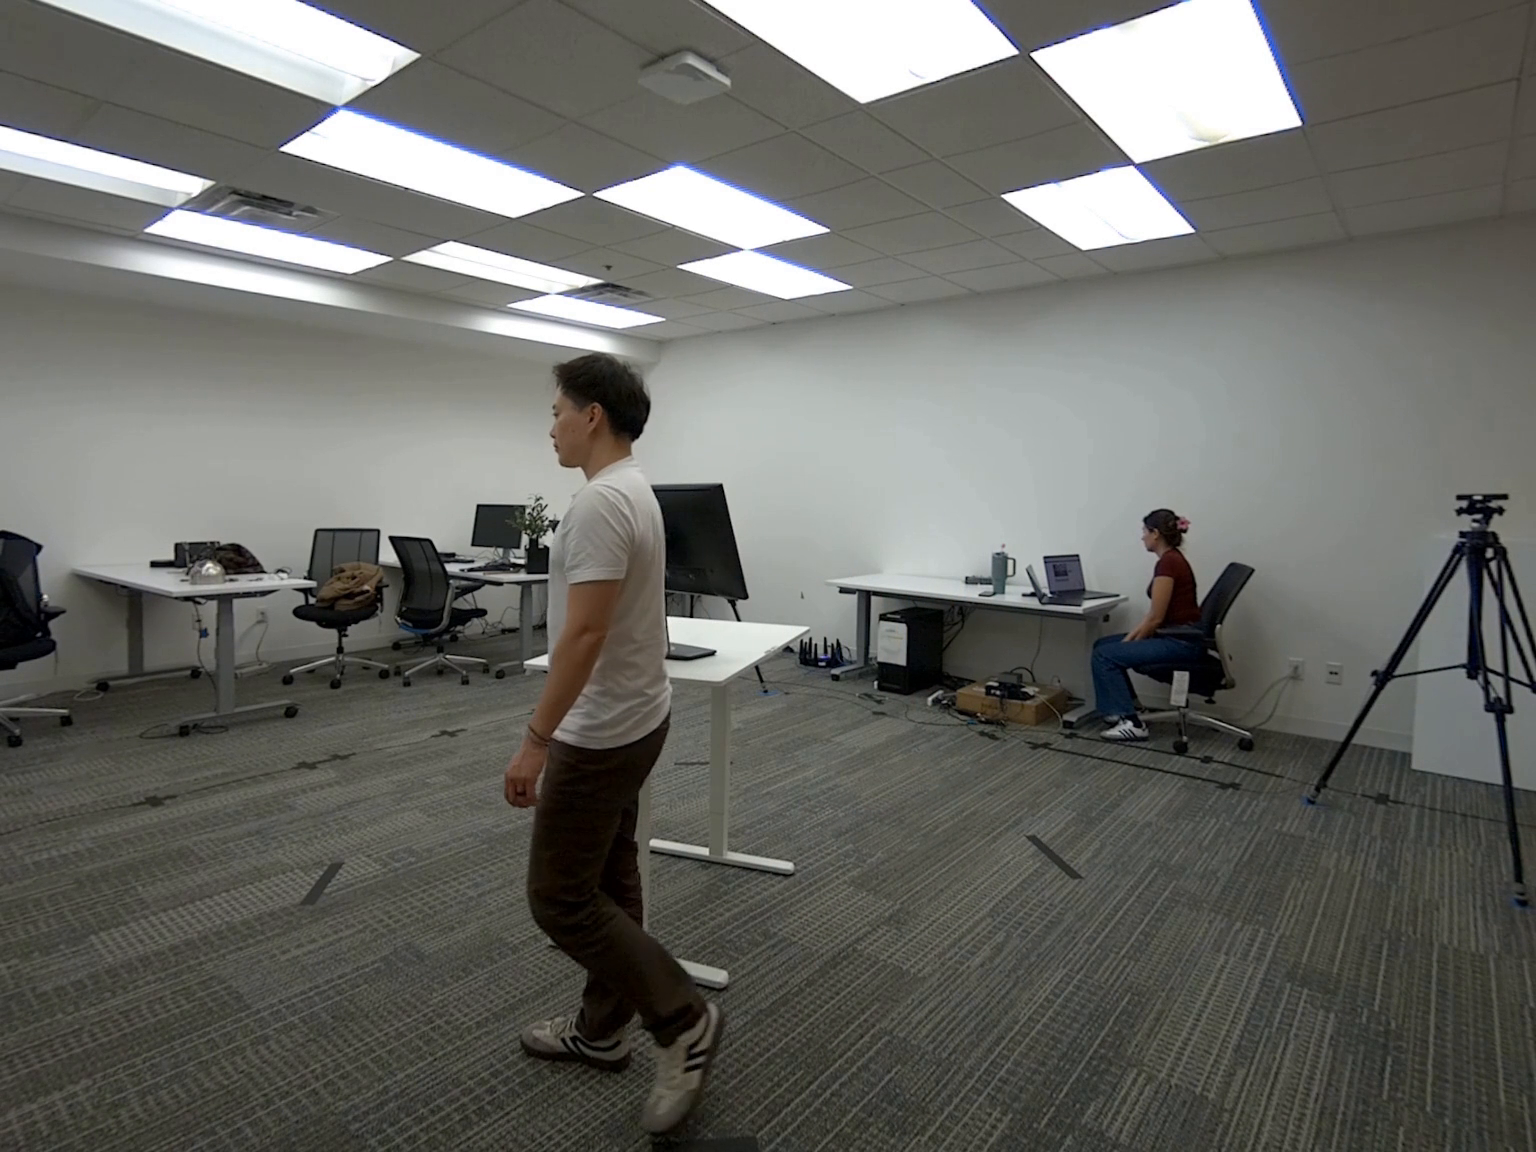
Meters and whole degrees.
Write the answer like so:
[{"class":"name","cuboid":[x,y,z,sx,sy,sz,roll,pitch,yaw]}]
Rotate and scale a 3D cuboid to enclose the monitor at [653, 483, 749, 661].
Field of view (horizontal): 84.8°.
[{"class":"monitor","cuboid":[-0.319,-0.021,2.592,0.557,0.520,0.182,3,7,42]}]
